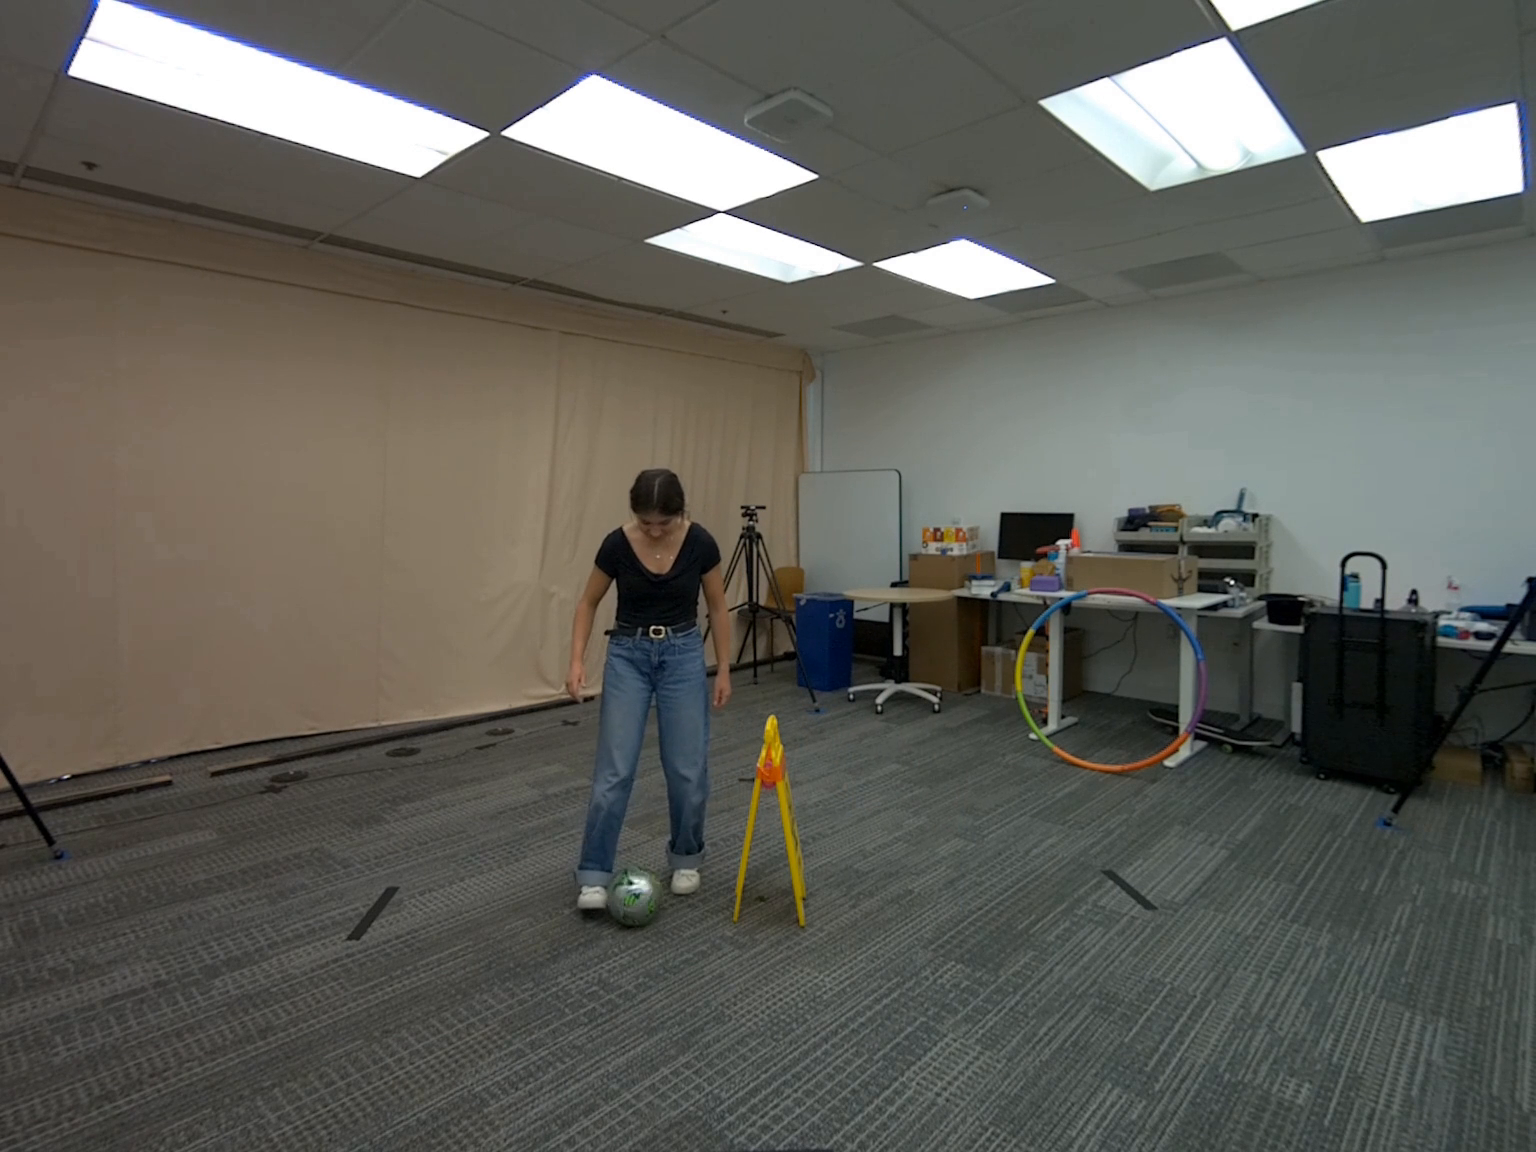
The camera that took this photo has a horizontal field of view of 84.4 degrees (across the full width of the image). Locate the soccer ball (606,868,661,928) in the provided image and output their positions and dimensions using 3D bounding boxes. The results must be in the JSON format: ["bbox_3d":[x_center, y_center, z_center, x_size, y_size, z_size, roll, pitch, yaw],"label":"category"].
[{"bbox_3d":[-0.435,1.076,2.814,0.187,0.187,0.188,0,4,-2],"label":"soccer ball"}]
